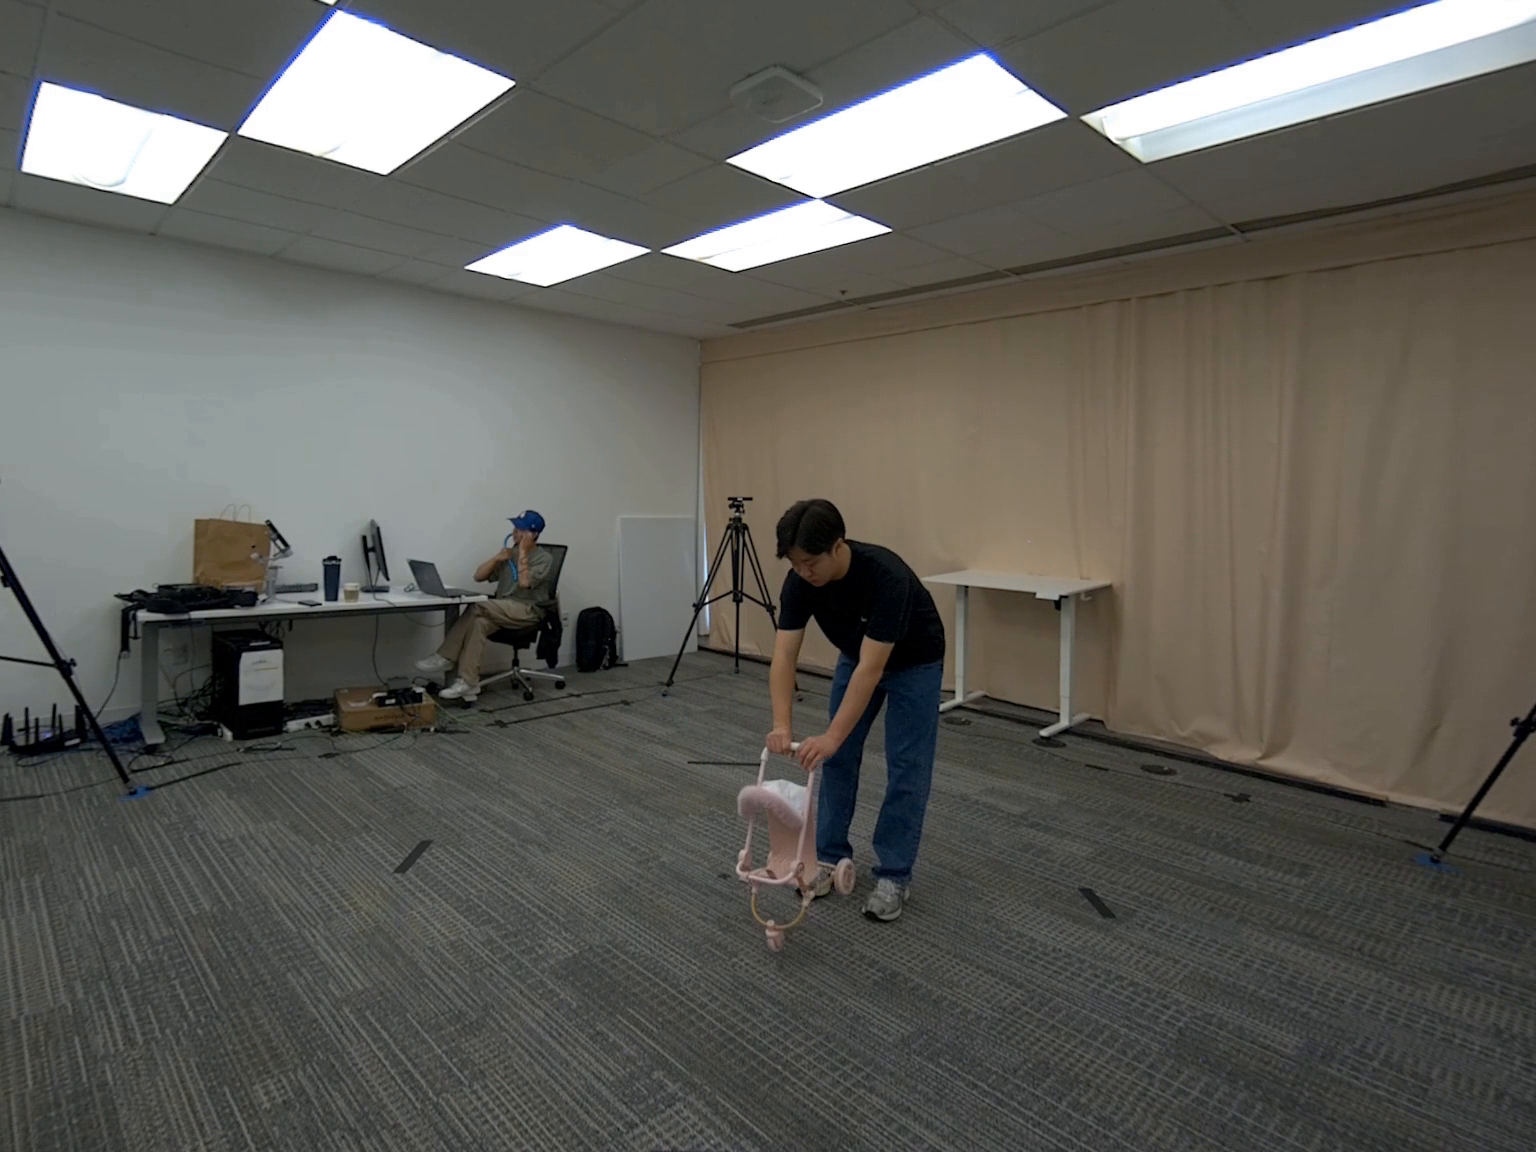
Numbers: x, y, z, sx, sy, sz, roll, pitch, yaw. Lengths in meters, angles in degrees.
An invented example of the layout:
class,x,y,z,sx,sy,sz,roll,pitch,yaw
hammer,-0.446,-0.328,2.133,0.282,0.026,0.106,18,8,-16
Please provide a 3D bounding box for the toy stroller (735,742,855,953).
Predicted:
class,x,y,z,sx,sy,sz,roll,pitch,yaw
toy stroller,0.040,0.835,2.572,0.288,0.529,0.337,-1,17,40
